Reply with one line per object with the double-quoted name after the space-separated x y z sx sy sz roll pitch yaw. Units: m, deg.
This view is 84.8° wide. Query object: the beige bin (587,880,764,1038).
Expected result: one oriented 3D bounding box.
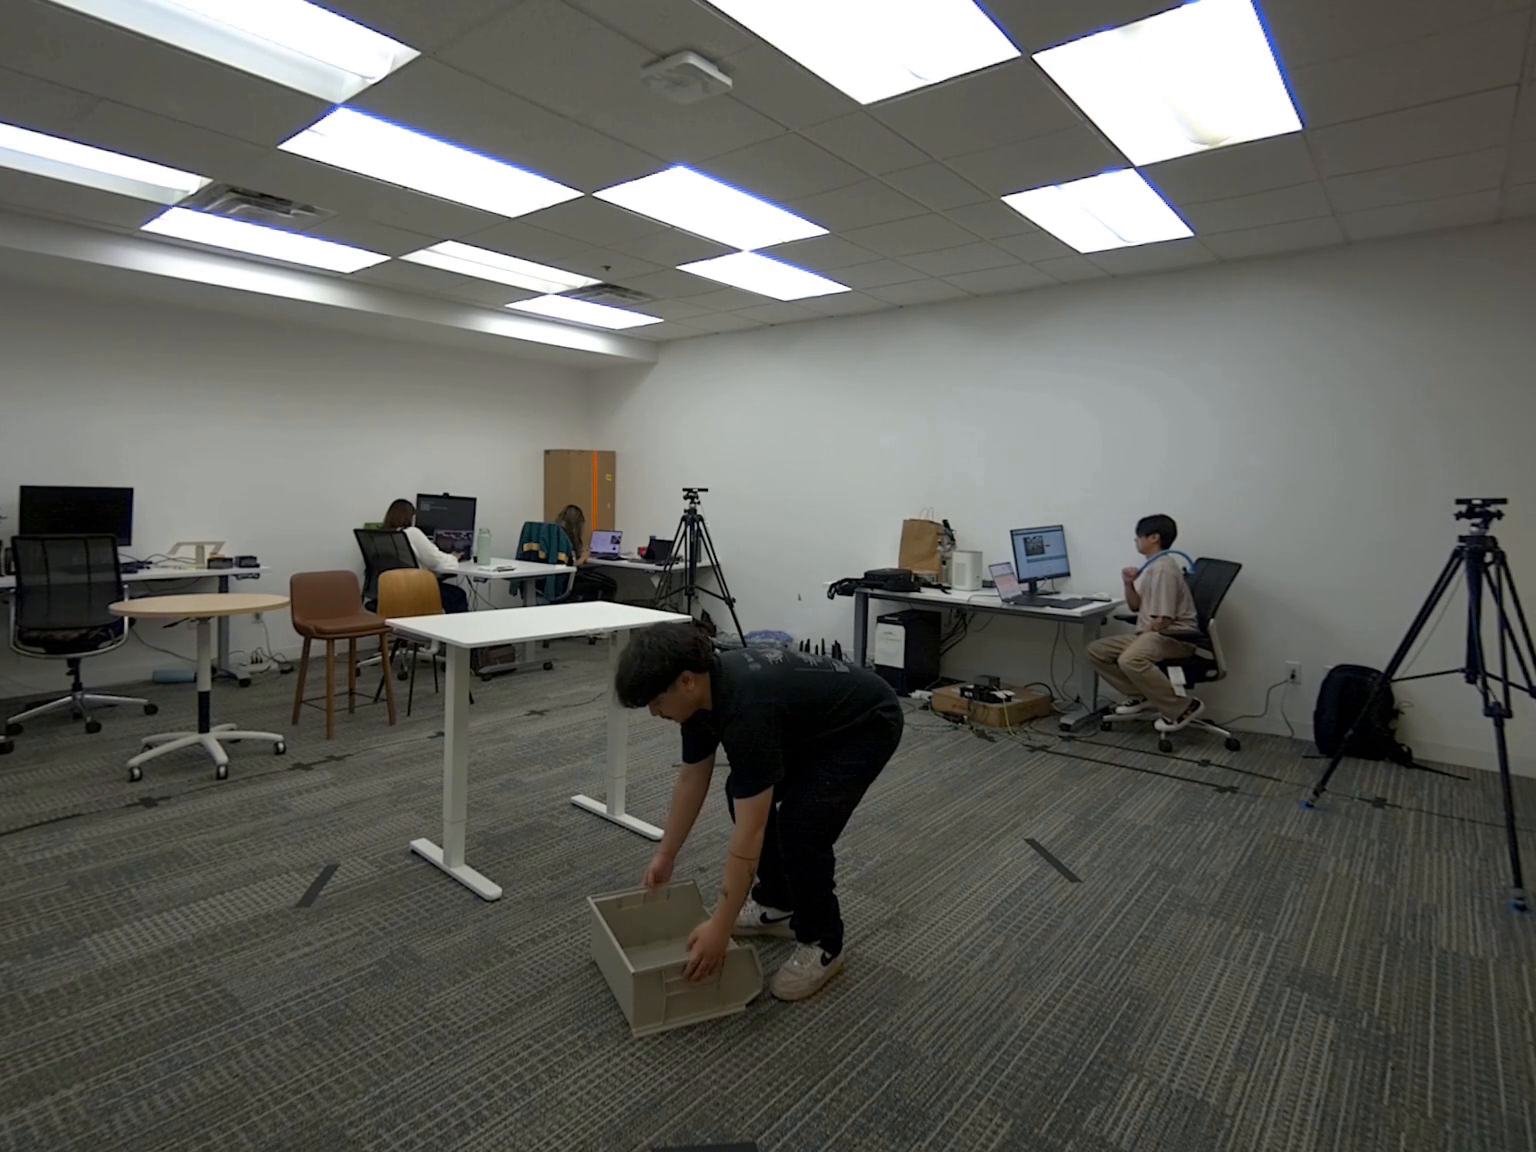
-0.276 1.050 2.398 0.368 0.188 0.435 -3 7 -27 "beige bin"
